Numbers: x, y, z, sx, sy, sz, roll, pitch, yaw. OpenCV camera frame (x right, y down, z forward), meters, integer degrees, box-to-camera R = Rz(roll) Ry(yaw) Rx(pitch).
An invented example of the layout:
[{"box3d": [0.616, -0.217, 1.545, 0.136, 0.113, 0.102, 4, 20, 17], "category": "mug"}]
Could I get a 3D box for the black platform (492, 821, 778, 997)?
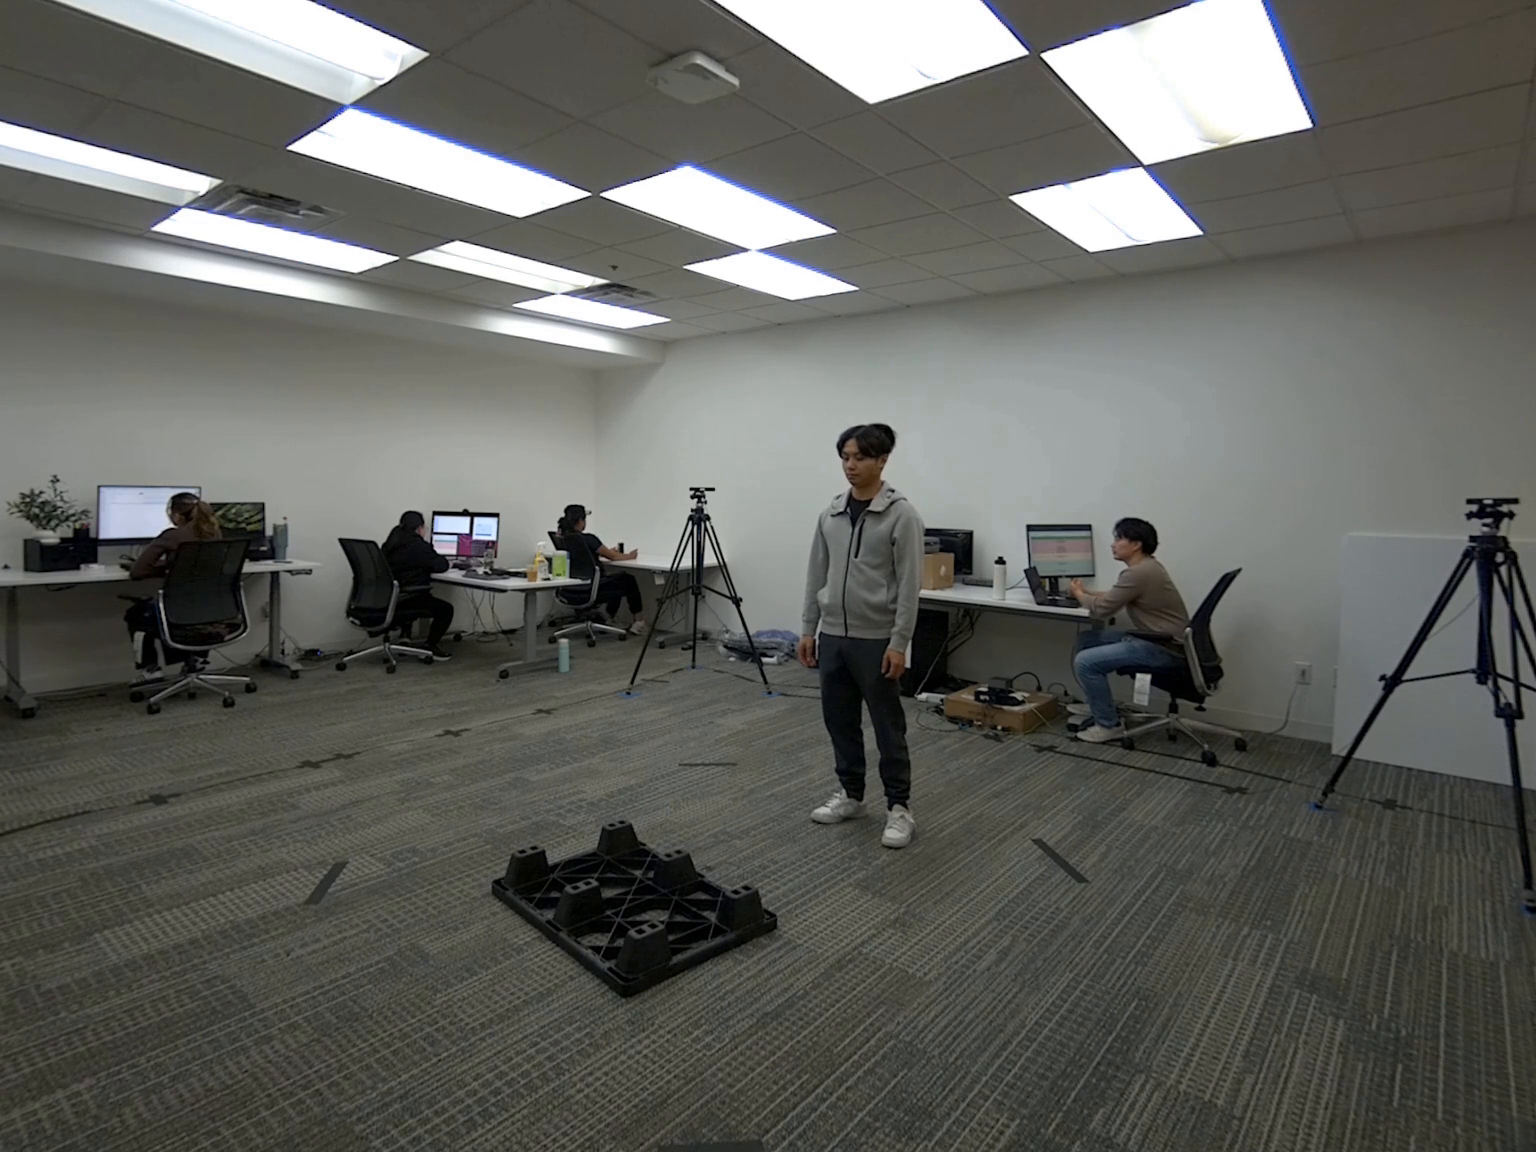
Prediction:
[{"box3d": [-0.470, 1.027, 2.793, 0.587, 0.143, 0.833, -4, 7, -44], "category": "black platform"}]
